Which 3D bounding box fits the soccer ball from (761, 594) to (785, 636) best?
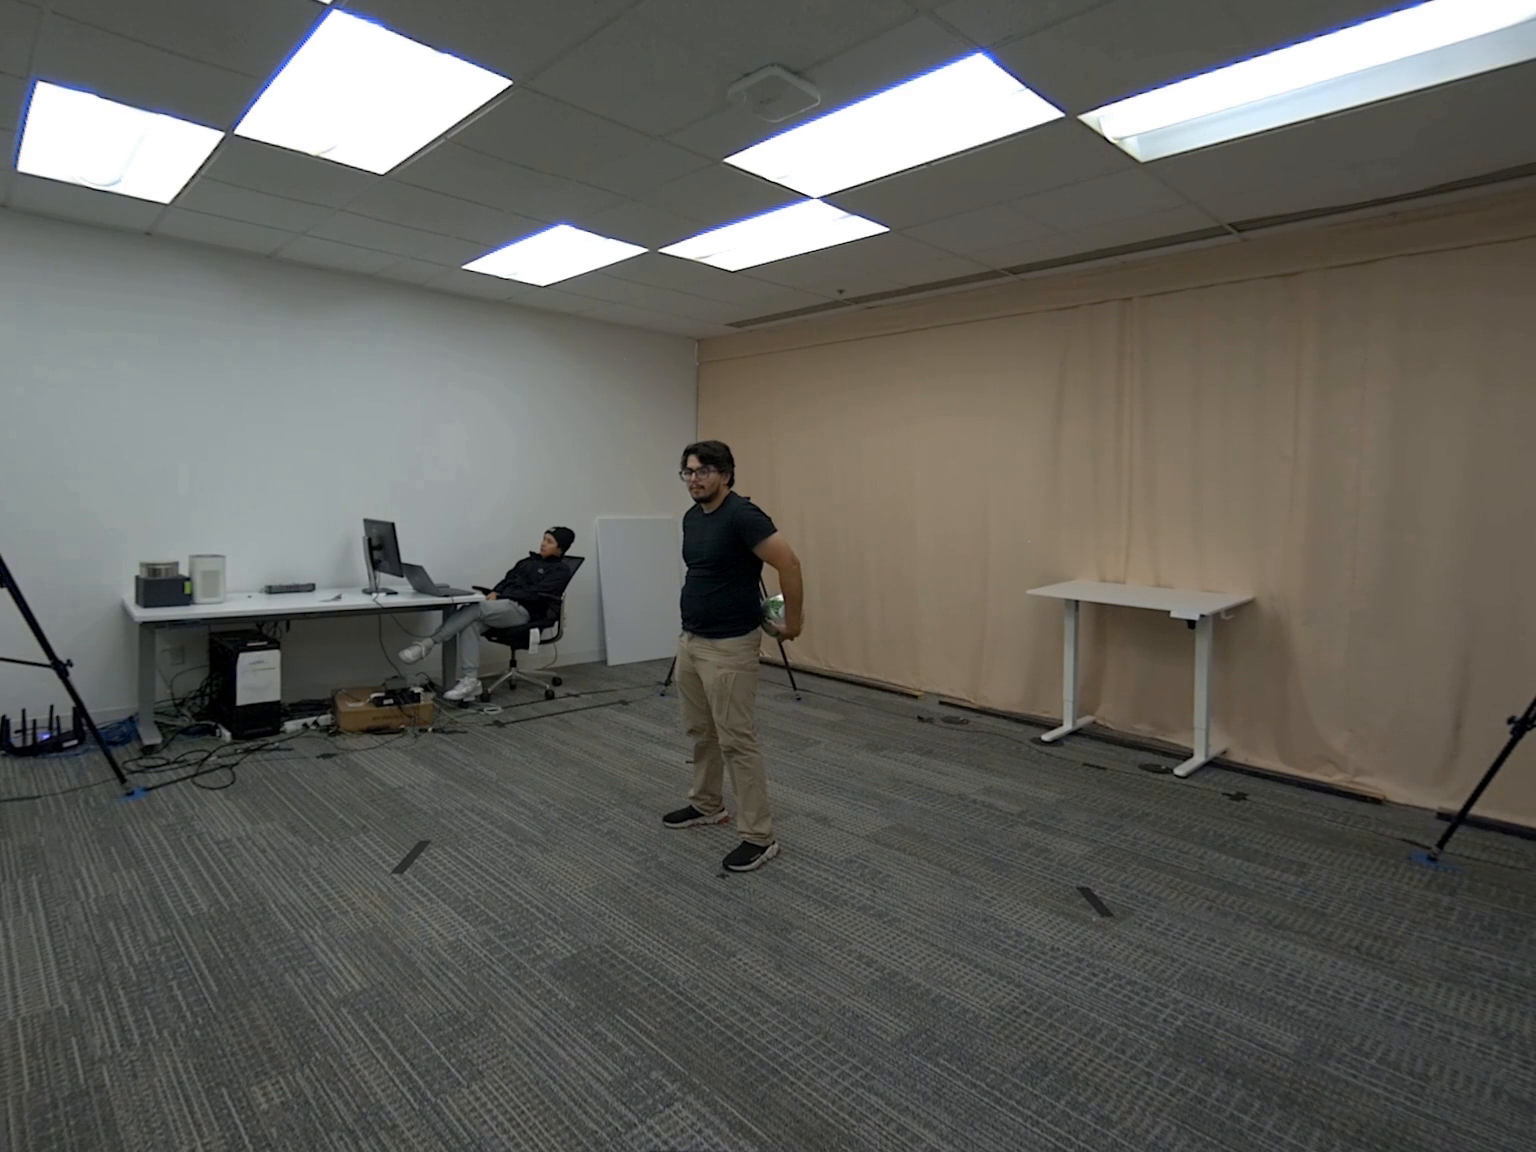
[{"bbox_3d":[0.050,0.159,3.417,0.187,0.187,0.188,1,4,-1],"label":"soccer ball"}]
